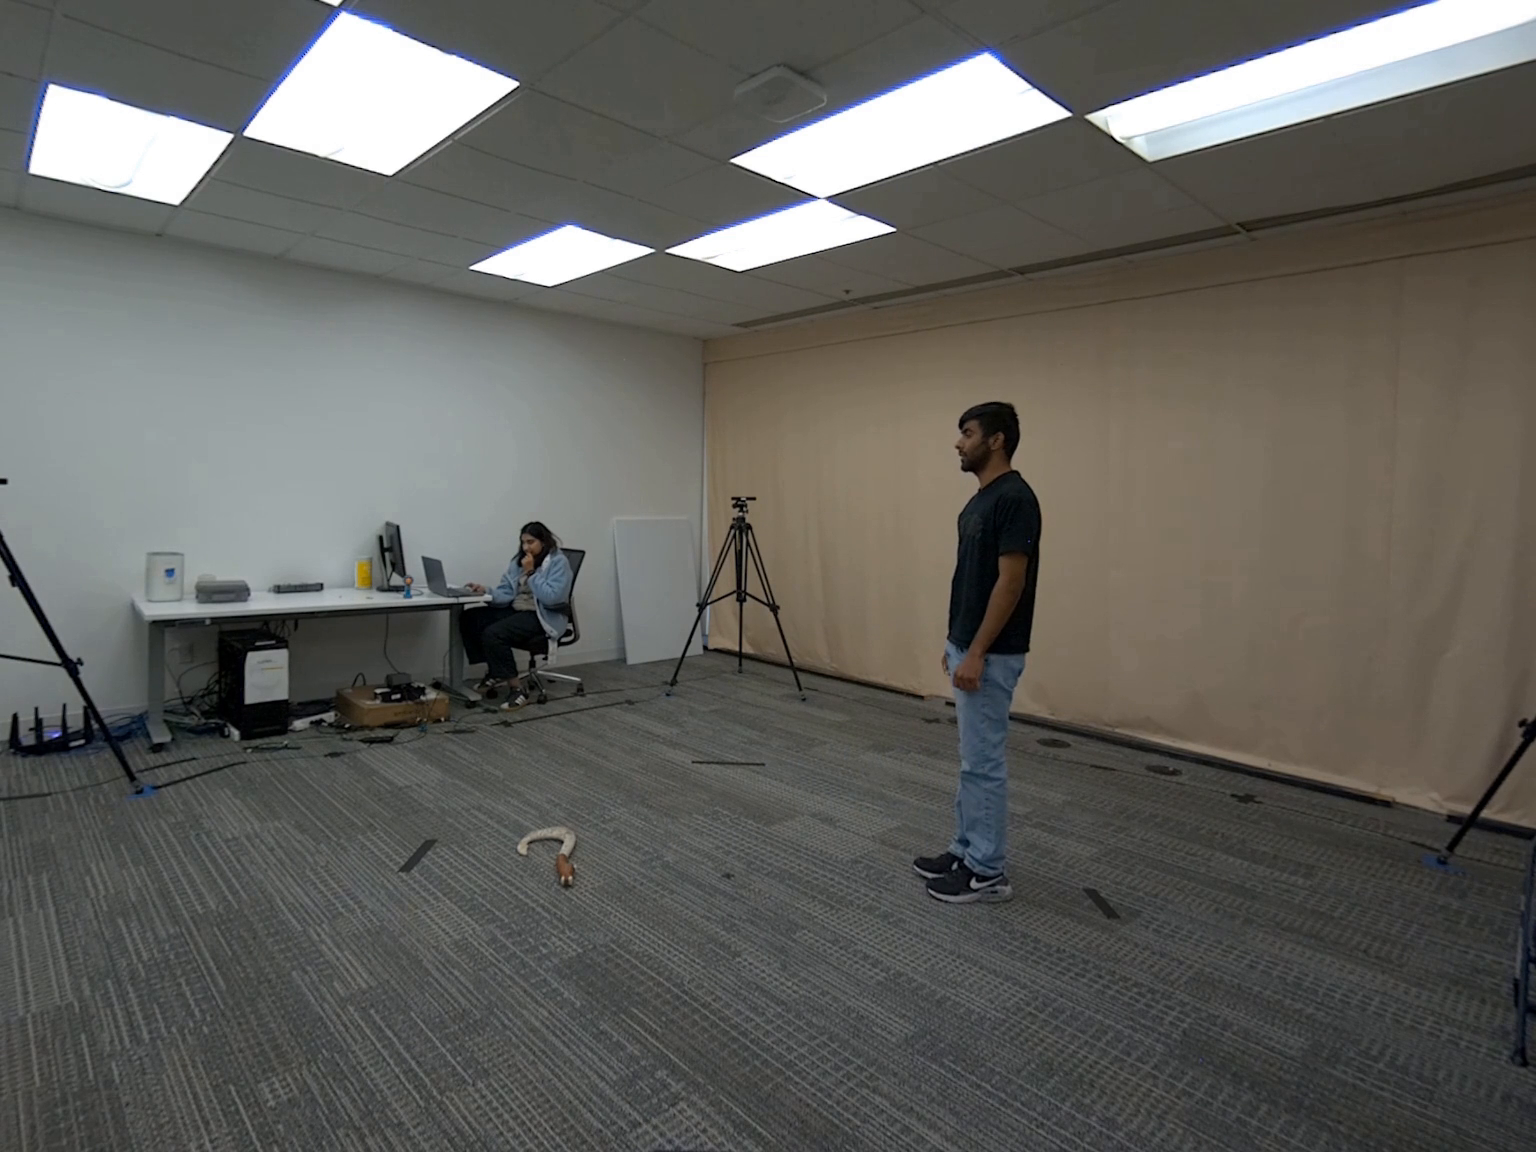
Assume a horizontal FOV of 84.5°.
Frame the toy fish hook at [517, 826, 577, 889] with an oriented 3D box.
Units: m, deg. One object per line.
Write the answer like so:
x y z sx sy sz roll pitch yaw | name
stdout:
-0.831 1.057 3.194 0.222 0.048 0.514 -9 7 -17 | toy fish hook
